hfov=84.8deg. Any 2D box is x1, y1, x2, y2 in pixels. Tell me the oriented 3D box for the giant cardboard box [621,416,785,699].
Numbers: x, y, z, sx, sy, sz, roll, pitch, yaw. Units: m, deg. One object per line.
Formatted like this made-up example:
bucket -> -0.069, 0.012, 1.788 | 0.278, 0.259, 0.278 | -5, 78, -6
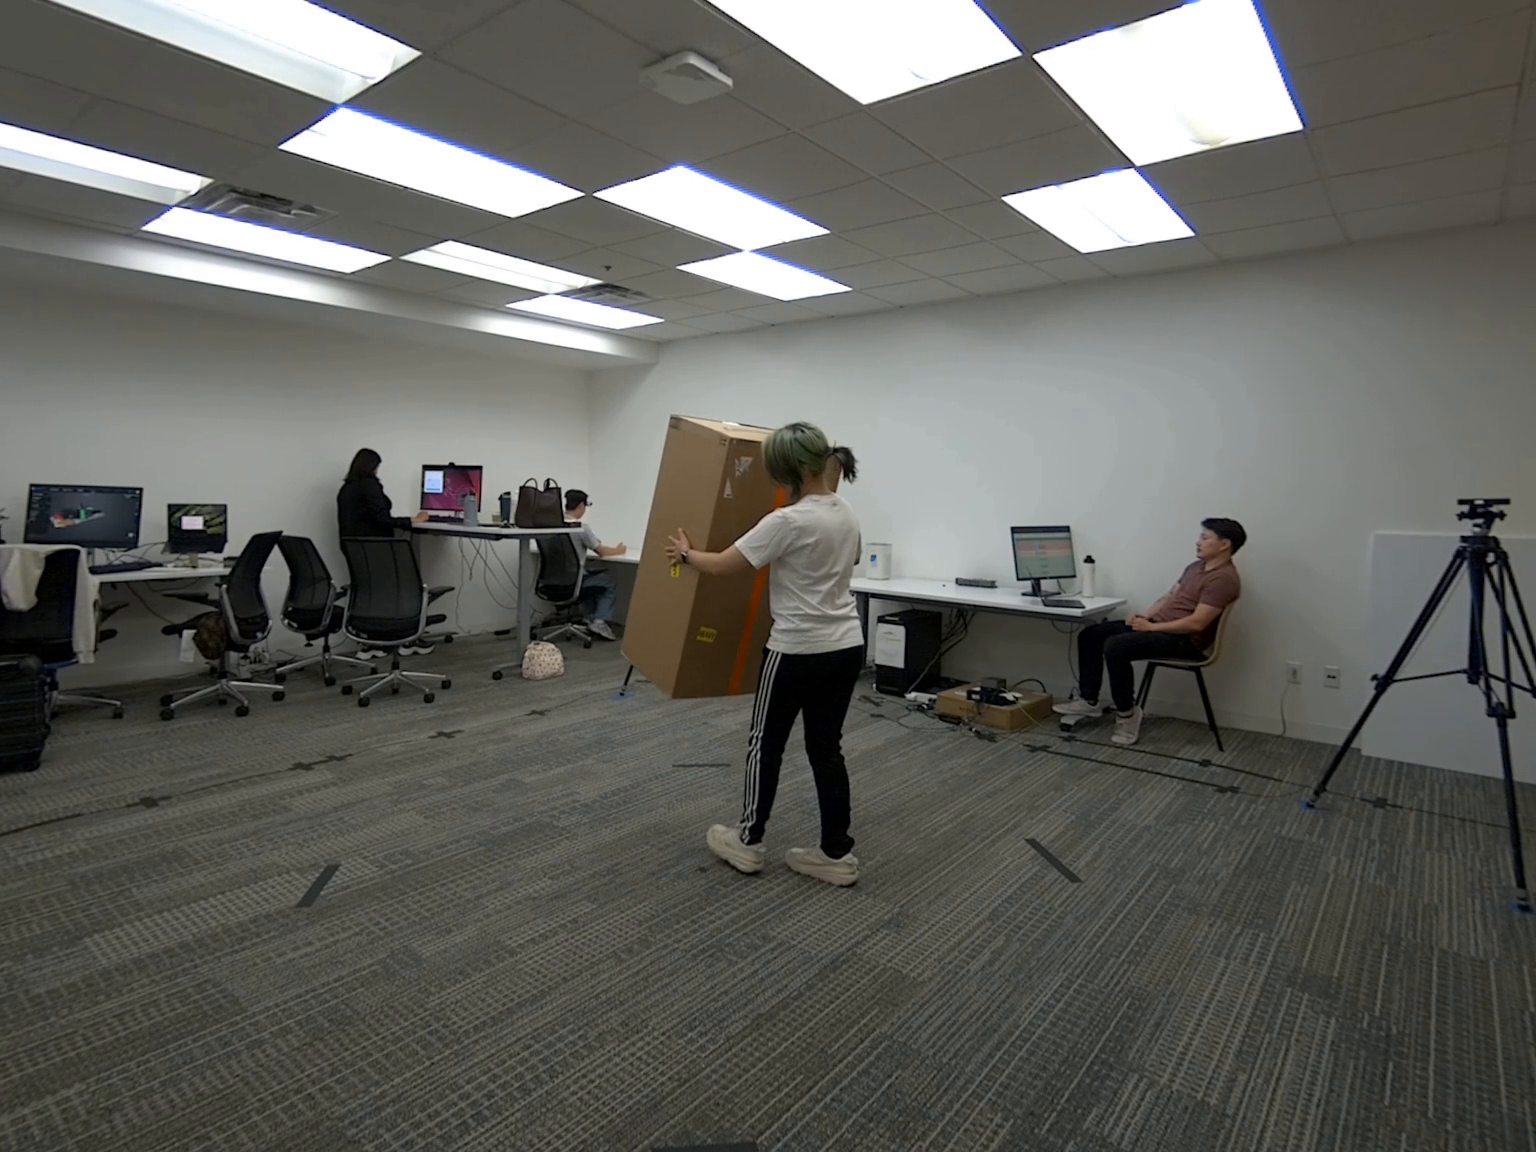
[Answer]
giant cardboard box -> -0.172, -0.072, 3.436 | 0.565, 1.018, 0.465 | 3, 16, -39
